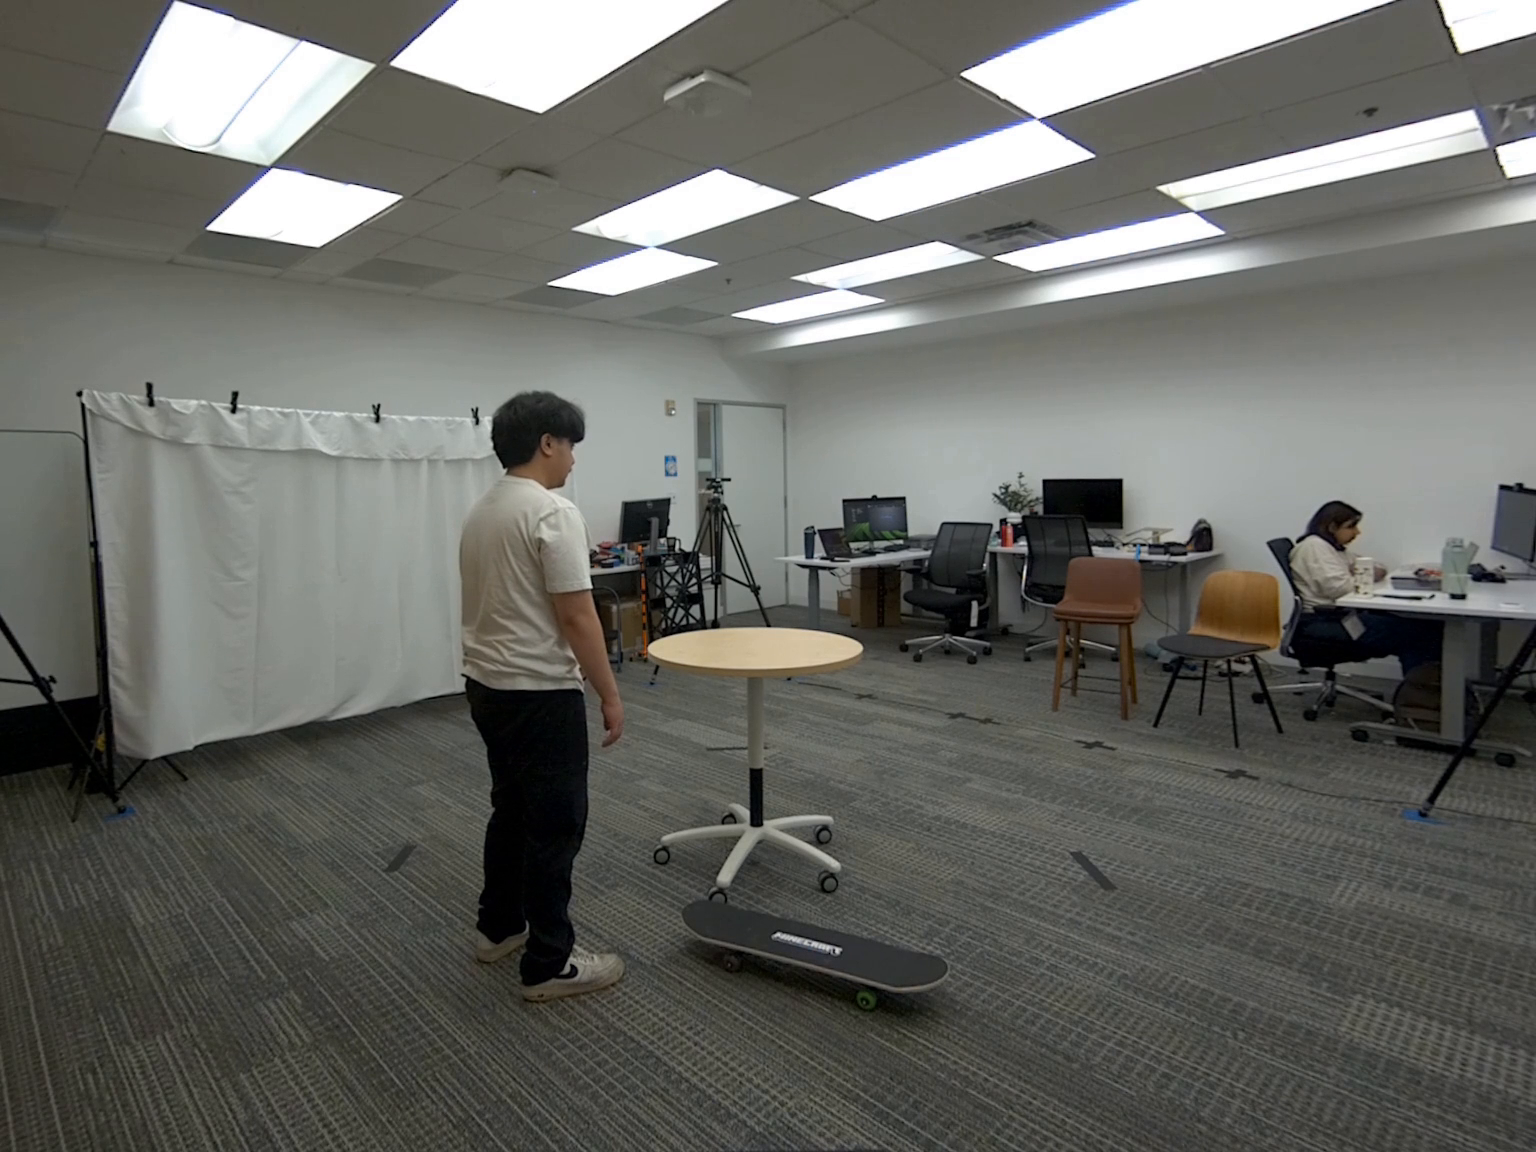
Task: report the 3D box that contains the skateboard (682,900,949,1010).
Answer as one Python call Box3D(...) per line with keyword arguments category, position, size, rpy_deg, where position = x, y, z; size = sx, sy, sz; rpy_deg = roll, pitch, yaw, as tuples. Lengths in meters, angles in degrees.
Box3D(category="skateboard", position=(0.110, 1.062, 2.406), size=(0.804, 0.110, 0.190), rpy_deg=(2, 6, 27))
